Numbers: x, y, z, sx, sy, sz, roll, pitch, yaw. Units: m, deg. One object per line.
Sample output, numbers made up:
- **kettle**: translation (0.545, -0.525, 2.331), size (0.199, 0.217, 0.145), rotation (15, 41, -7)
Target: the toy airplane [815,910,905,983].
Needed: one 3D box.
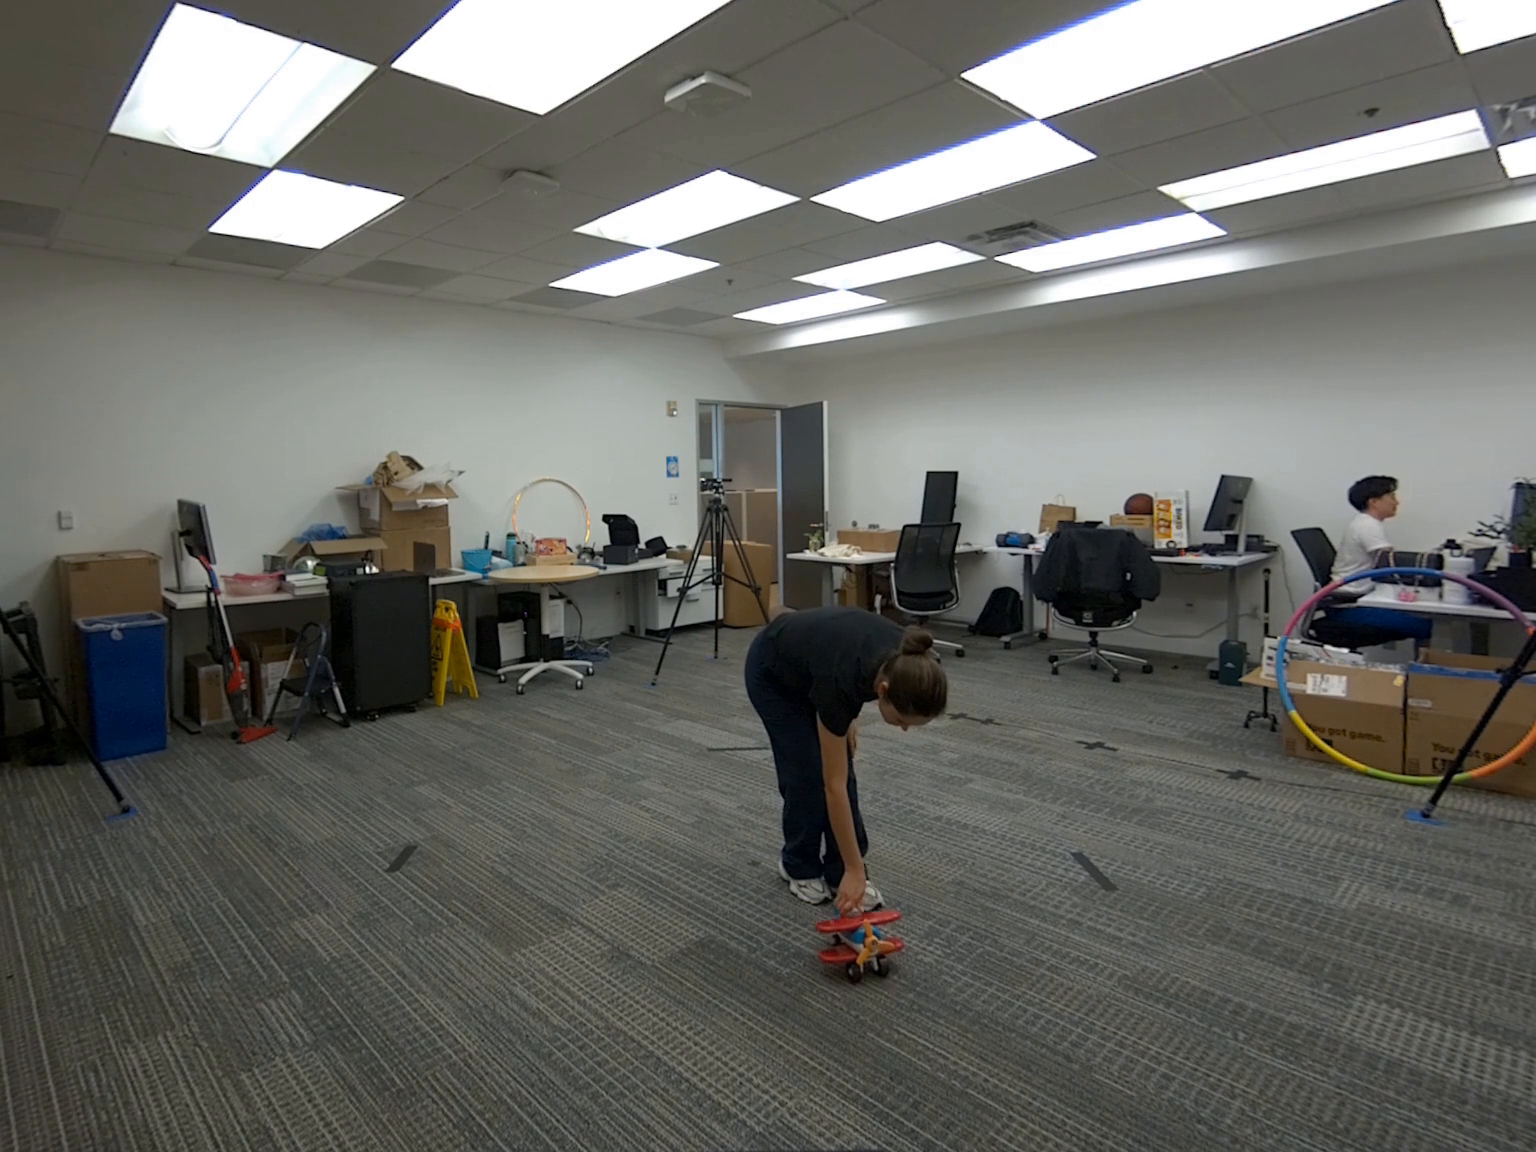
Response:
- **toy airplane**: translation (0.236, 1.044, 2.473), size (0.267, 0.156, 0.244), rotation (5, 9, 44)
